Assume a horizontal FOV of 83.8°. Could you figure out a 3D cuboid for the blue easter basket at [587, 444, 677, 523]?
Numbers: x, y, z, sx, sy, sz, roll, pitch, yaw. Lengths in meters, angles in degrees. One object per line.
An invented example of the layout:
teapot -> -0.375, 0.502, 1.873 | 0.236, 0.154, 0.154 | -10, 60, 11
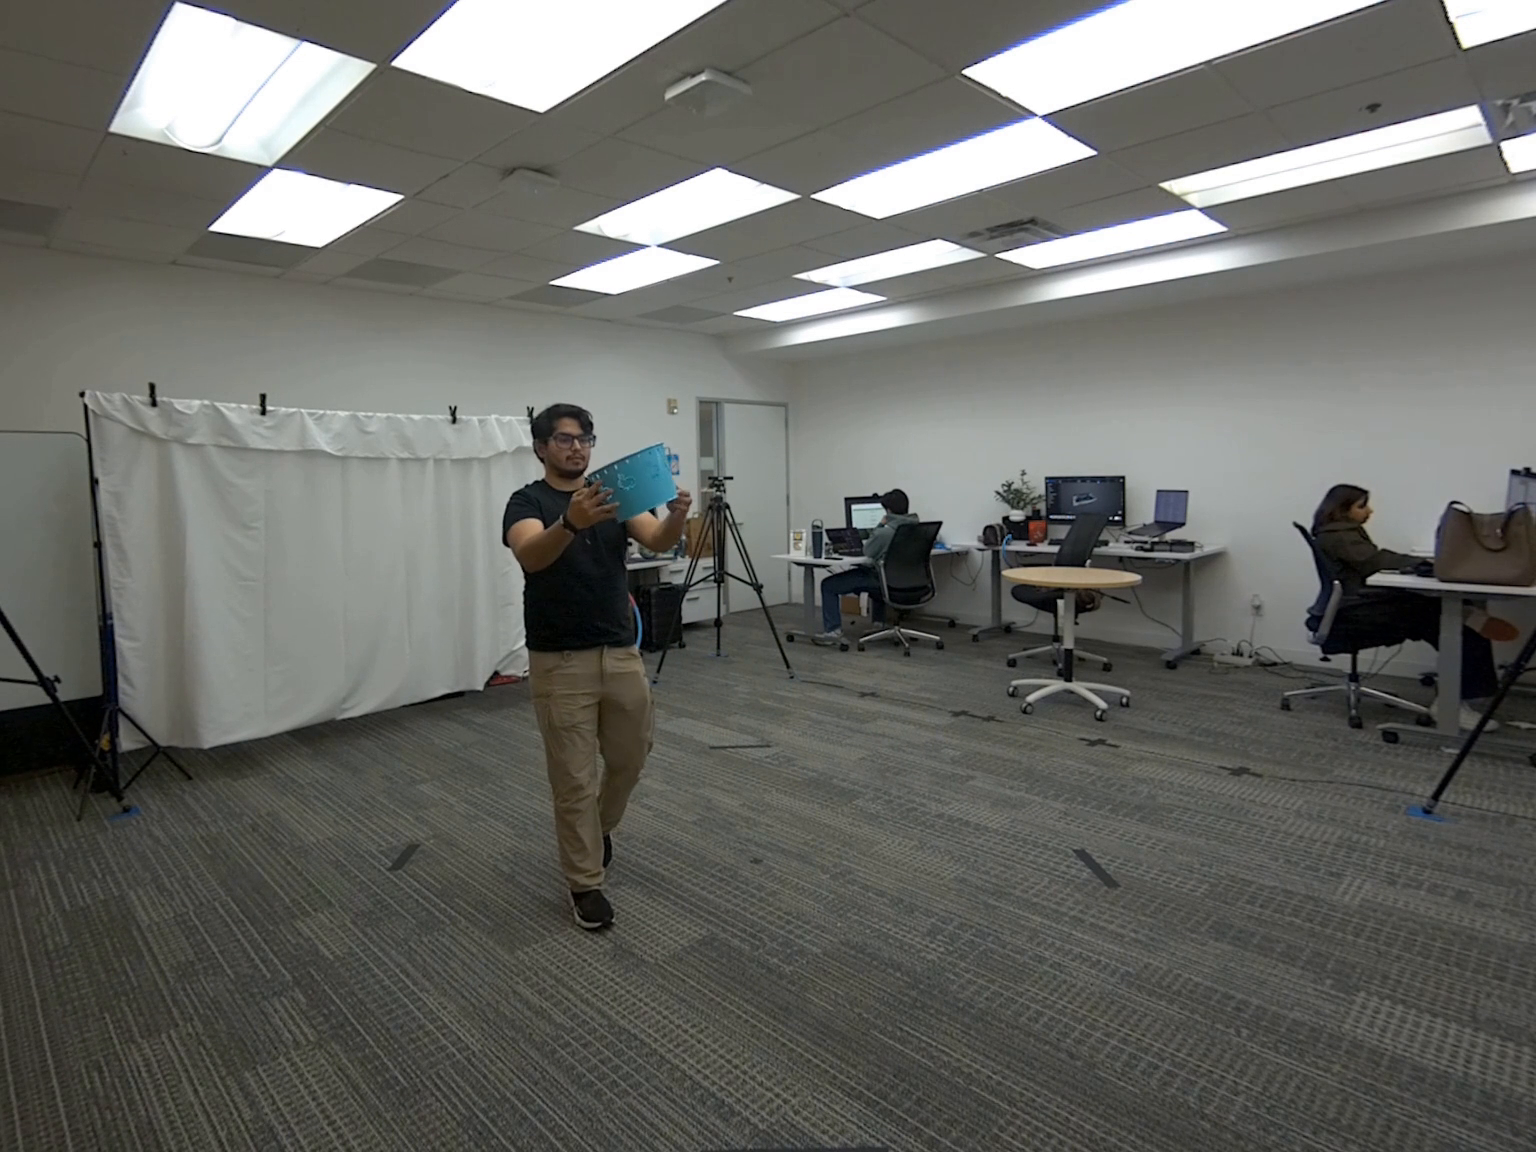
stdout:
blue easter basket -> -0.361, -0.243, 2.329 | 0.244, 0.154, 0.245 | -23, 8, 1
